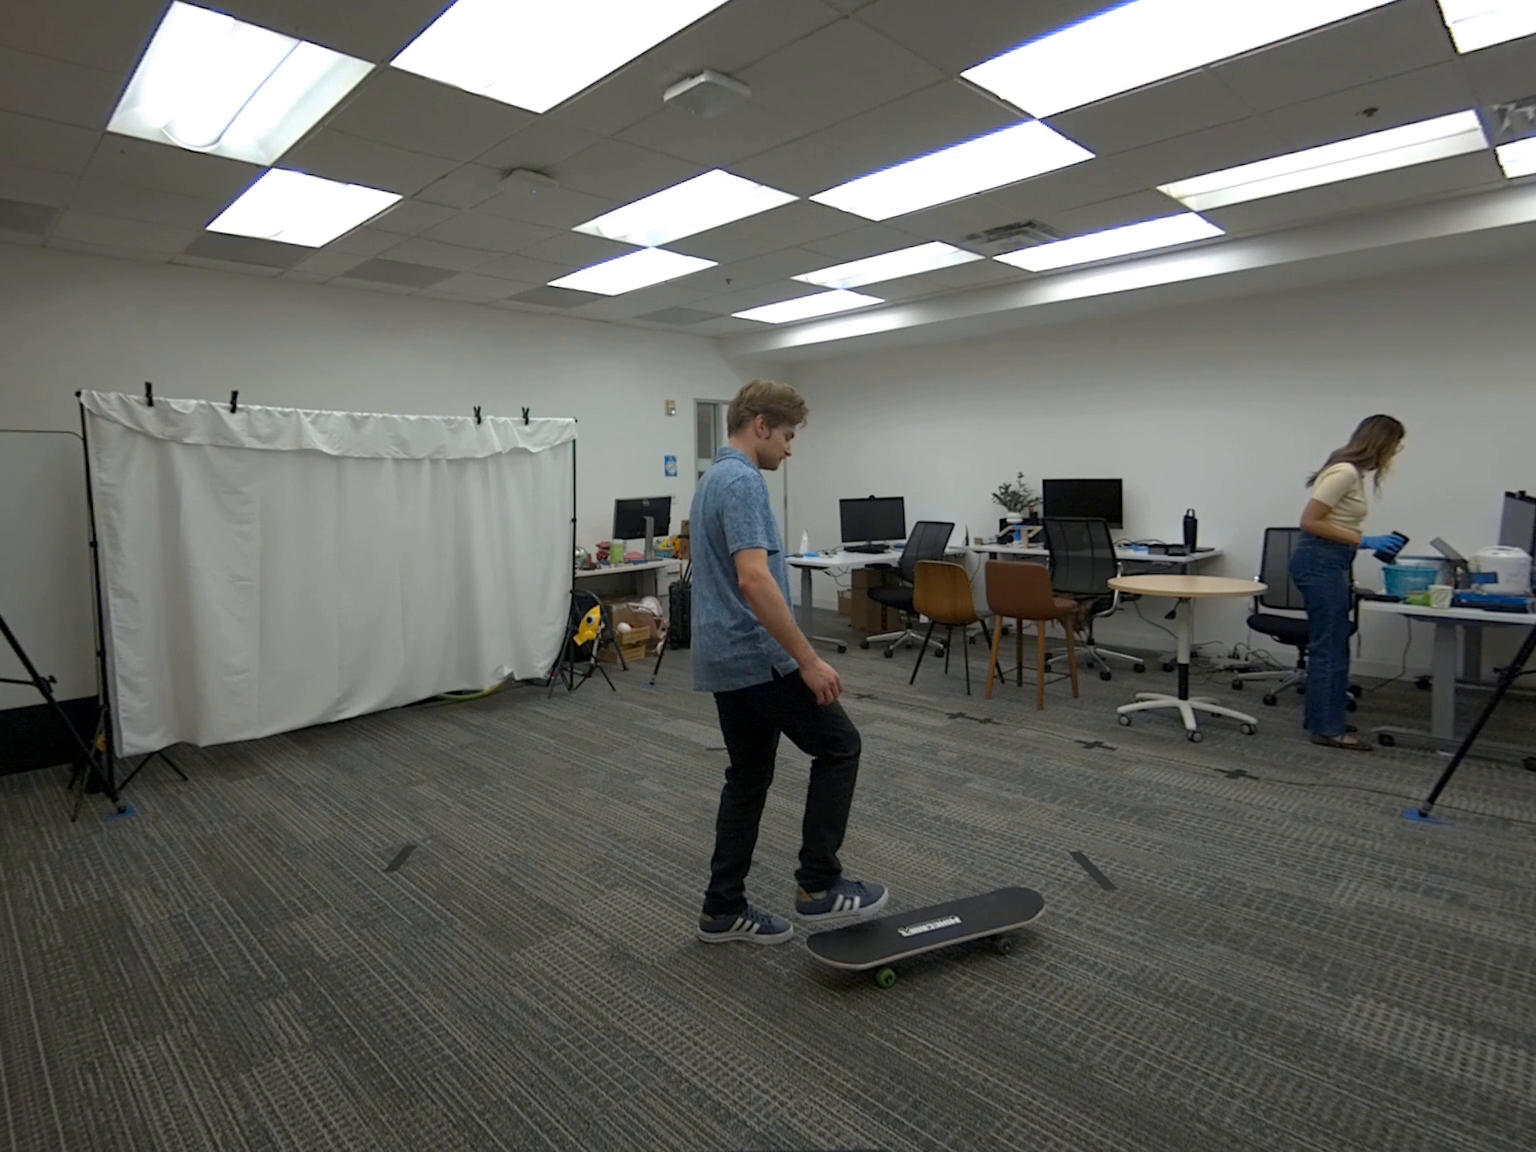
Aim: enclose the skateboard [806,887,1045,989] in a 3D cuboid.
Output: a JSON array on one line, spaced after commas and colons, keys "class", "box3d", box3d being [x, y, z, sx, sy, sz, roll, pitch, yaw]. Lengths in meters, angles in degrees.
[{"class": "skateboard", "box3d": [0.472, 1.046, 2.484, 0.771, 0.110, 0.198, -4, 6, -22]}]
